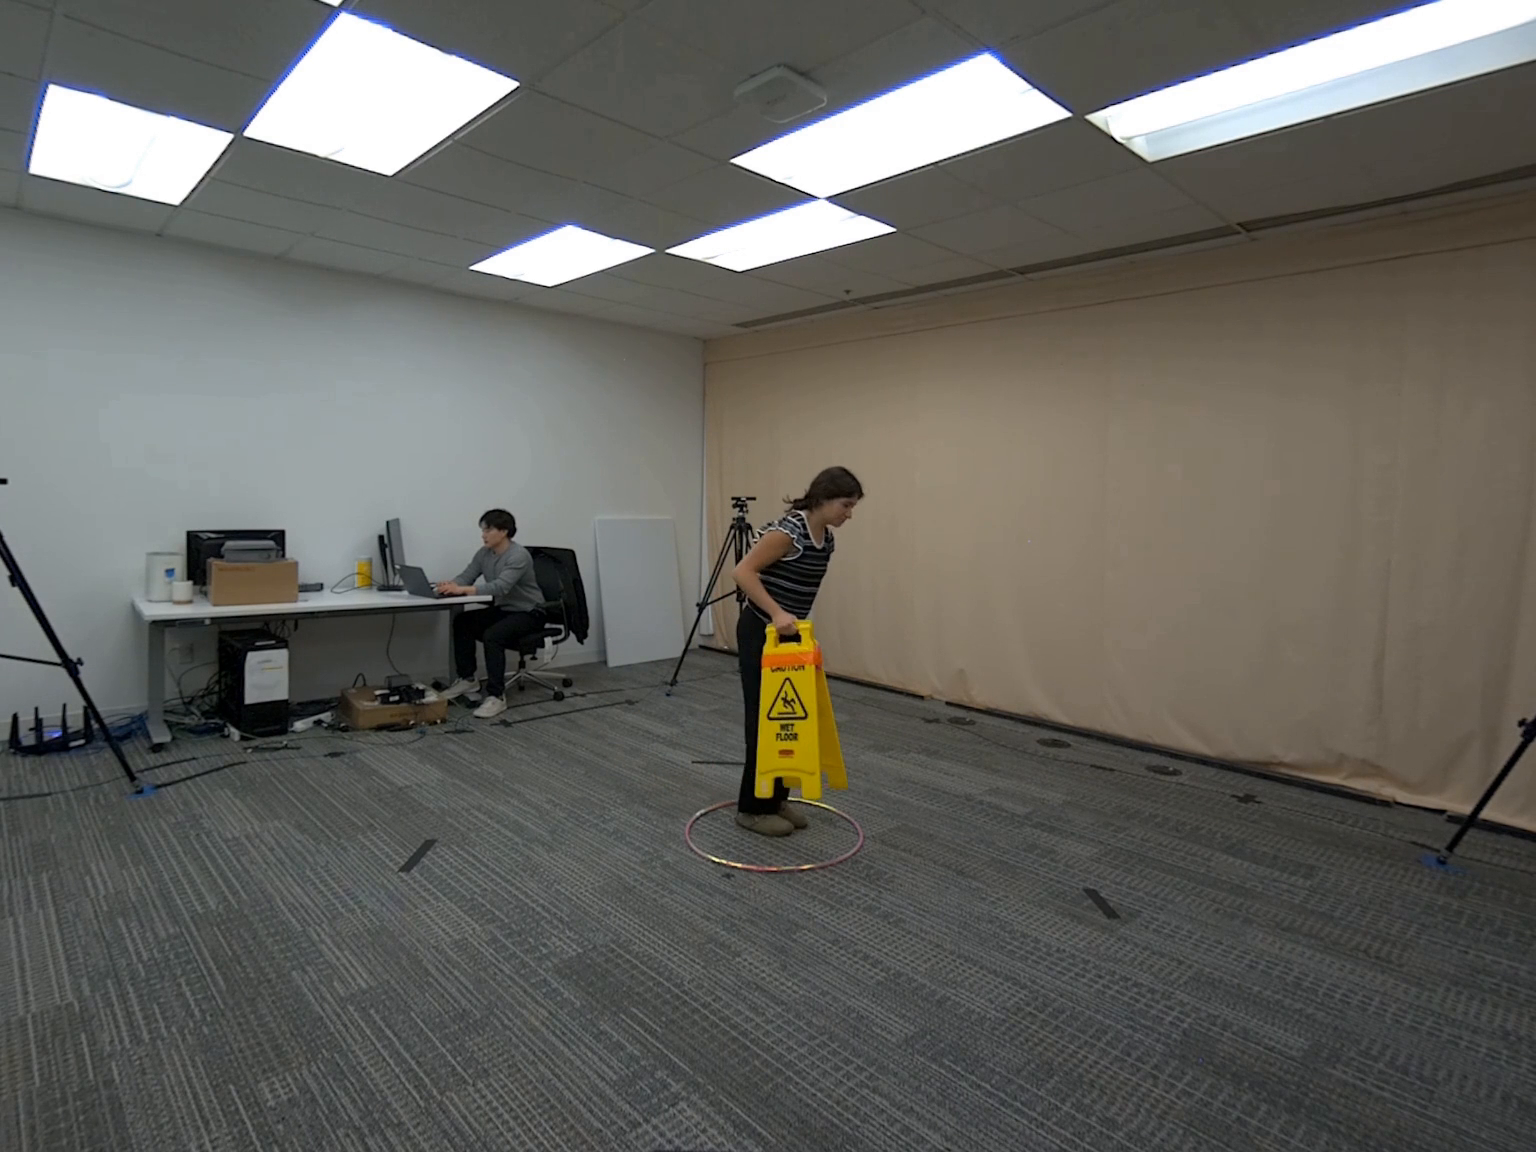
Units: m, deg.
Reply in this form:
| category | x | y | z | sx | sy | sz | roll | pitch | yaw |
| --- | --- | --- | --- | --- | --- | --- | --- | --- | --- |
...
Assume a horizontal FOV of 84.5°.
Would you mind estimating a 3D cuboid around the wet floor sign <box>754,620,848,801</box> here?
| category | x | y | z | sx | sy | sz | roll | pitch | yaw |
| --- | --- | --- | --- | --- | --- | --- | --- | --- | --- |
| wet floor sign | 0.108 | 0.510 | 3.251 | 0.287 | 0.650 | 0.283 | -7 | -8 | 30 |
